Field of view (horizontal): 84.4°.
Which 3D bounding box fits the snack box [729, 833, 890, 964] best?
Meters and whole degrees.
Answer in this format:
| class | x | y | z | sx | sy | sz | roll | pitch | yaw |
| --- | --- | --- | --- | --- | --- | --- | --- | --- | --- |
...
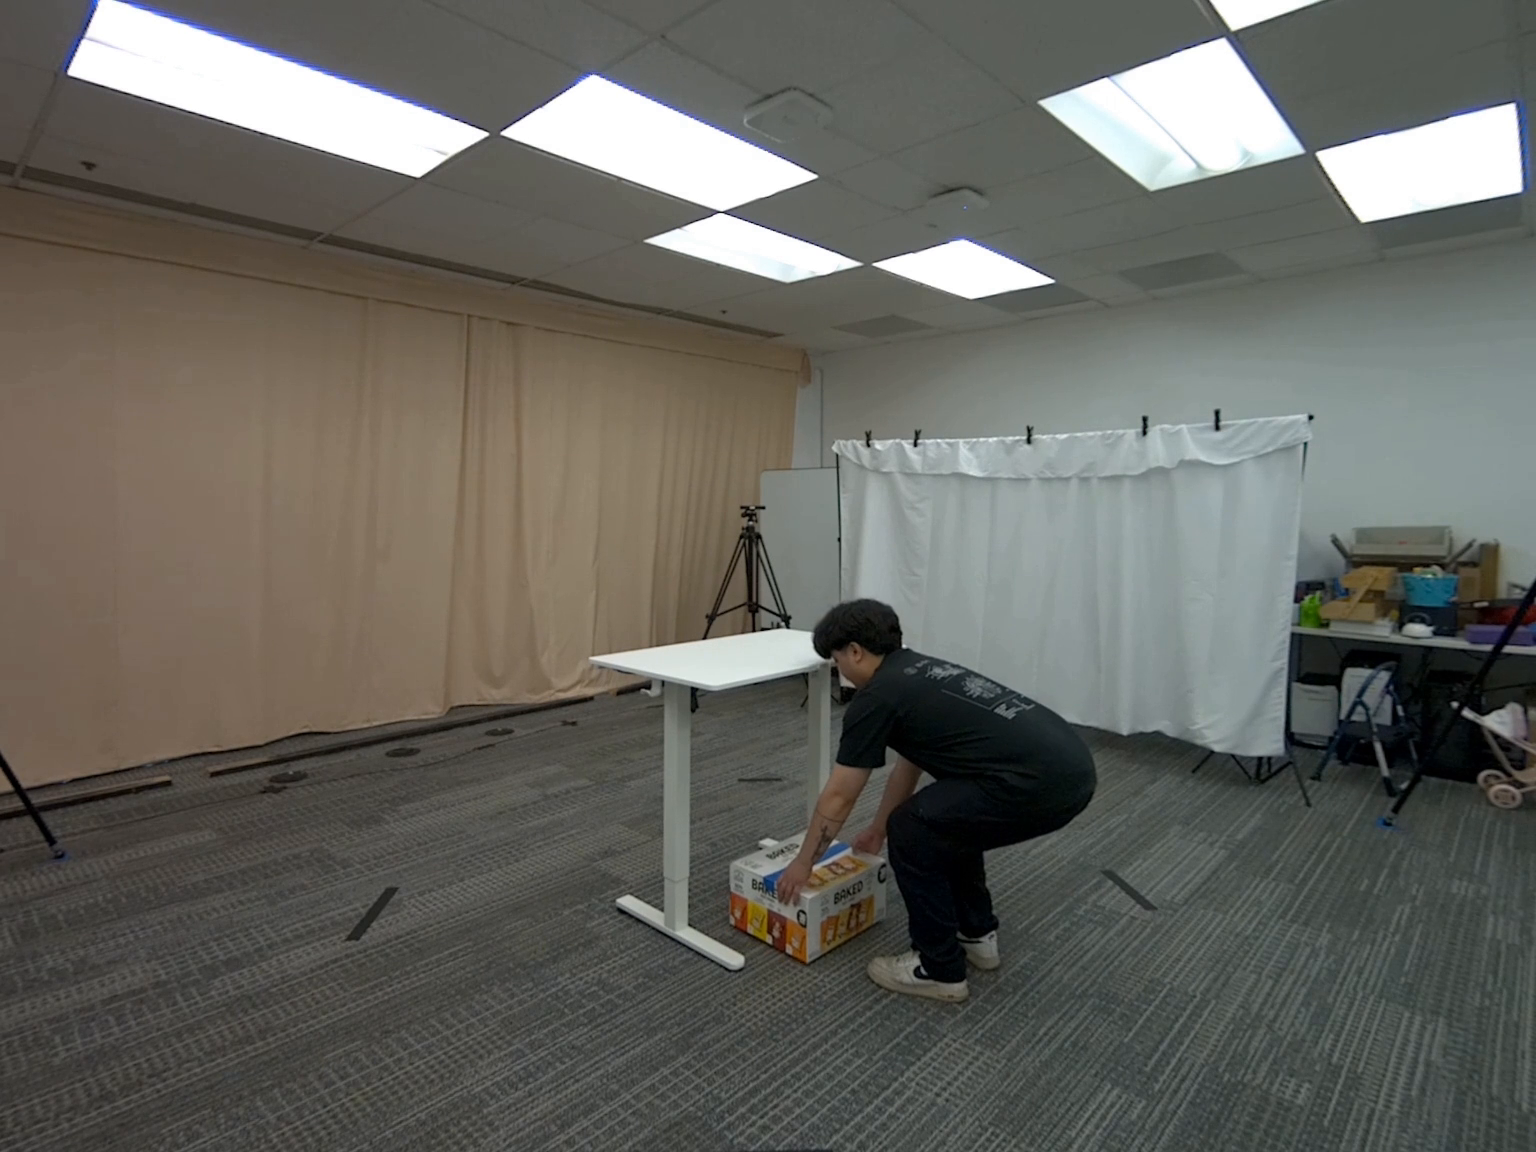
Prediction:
| class | x | y | z | sx | sy | sz | roll | pitch | yaw |
| --- | --- | --- | --- | --- | --- | --- | --- | --- | --- |
| snack box | 0.138 | 1.044 | 2.788 | 0.352 | 0.205 | 0.393 | 6 | 7 | 44 |
